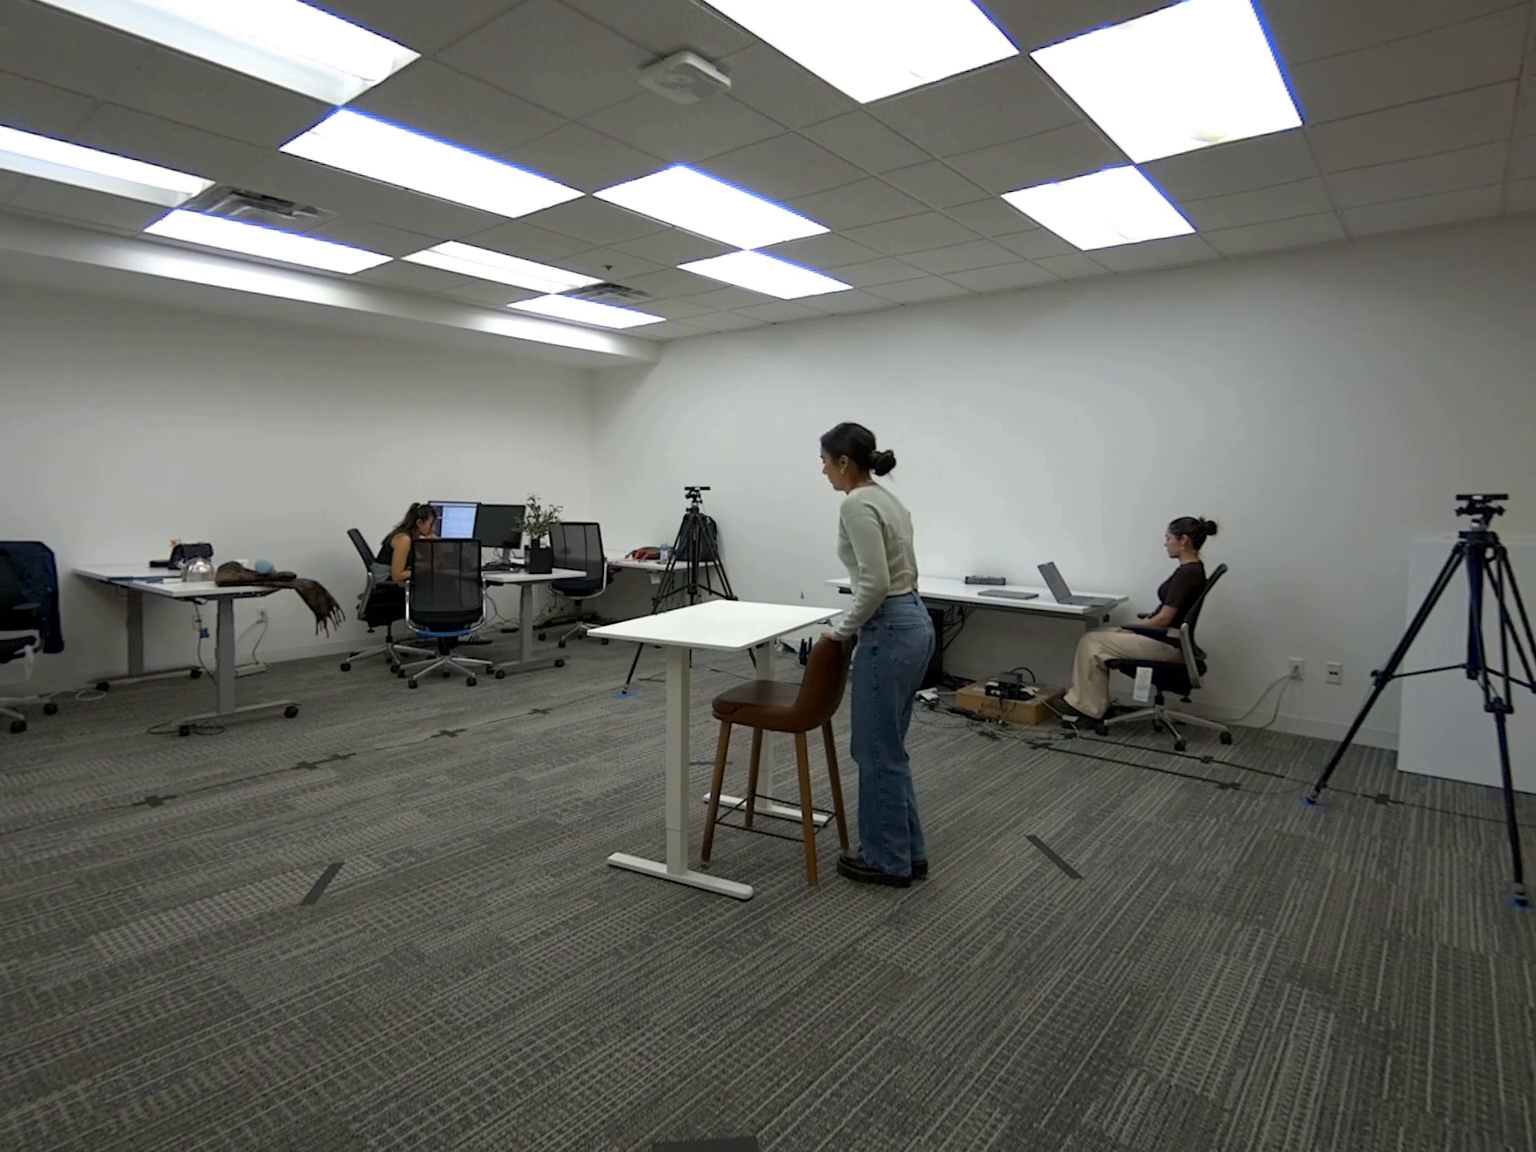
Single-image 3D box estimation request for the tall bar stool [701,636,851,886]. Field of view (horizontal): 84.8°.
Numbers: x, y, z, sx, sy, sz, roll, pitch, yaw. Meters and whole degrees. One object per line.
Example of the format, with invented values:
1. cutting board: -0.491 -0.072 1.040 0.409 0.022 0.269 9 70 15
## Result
1. tall bar stool: 0.049 0.623 3.222 0.480 0.887 0.446 5 4 25
